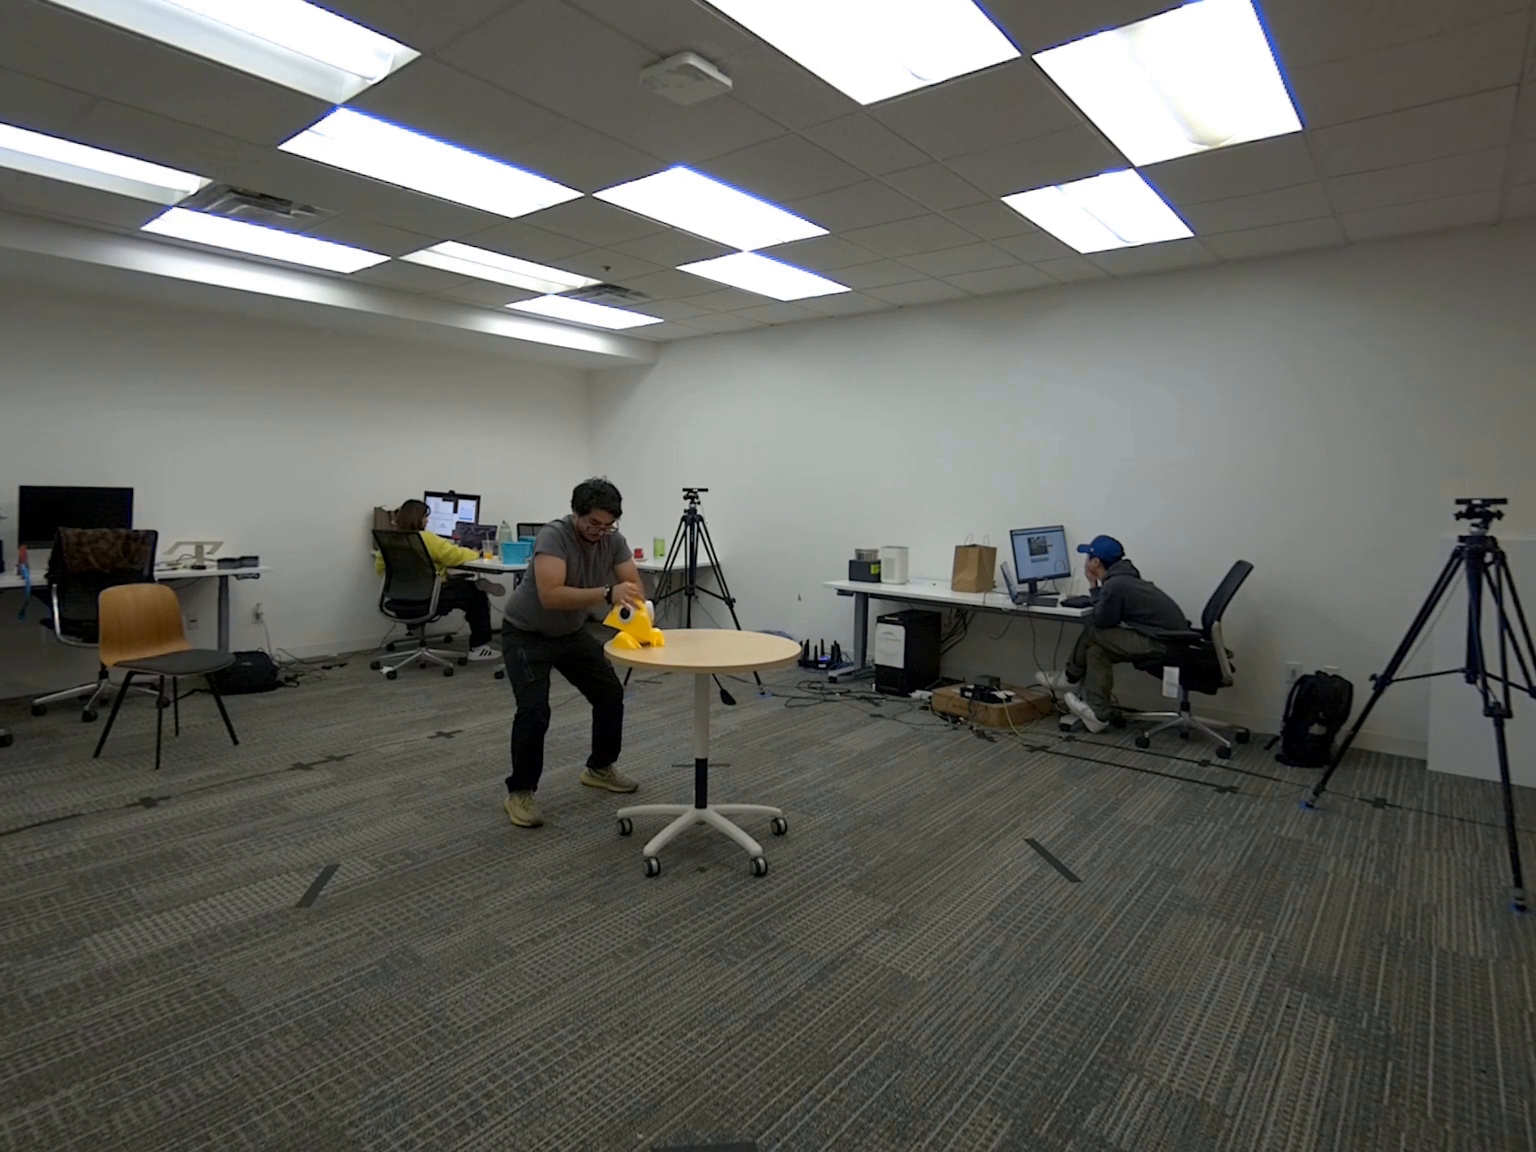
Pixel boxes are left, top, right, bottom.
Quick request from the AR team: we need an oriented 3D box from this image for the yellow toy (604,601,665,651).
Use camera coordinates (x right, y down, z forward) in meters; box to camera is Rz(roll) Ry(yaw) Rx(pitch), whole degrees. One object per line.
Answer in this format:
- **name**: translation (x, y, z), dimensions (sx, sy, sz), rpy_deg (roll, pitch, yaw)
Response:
- **yellow toy**: translation (-0.522, 0.152, 3.324), dimensions (0.199, 0.230, 0.199), rpy_deg (-3, 5, -39)
